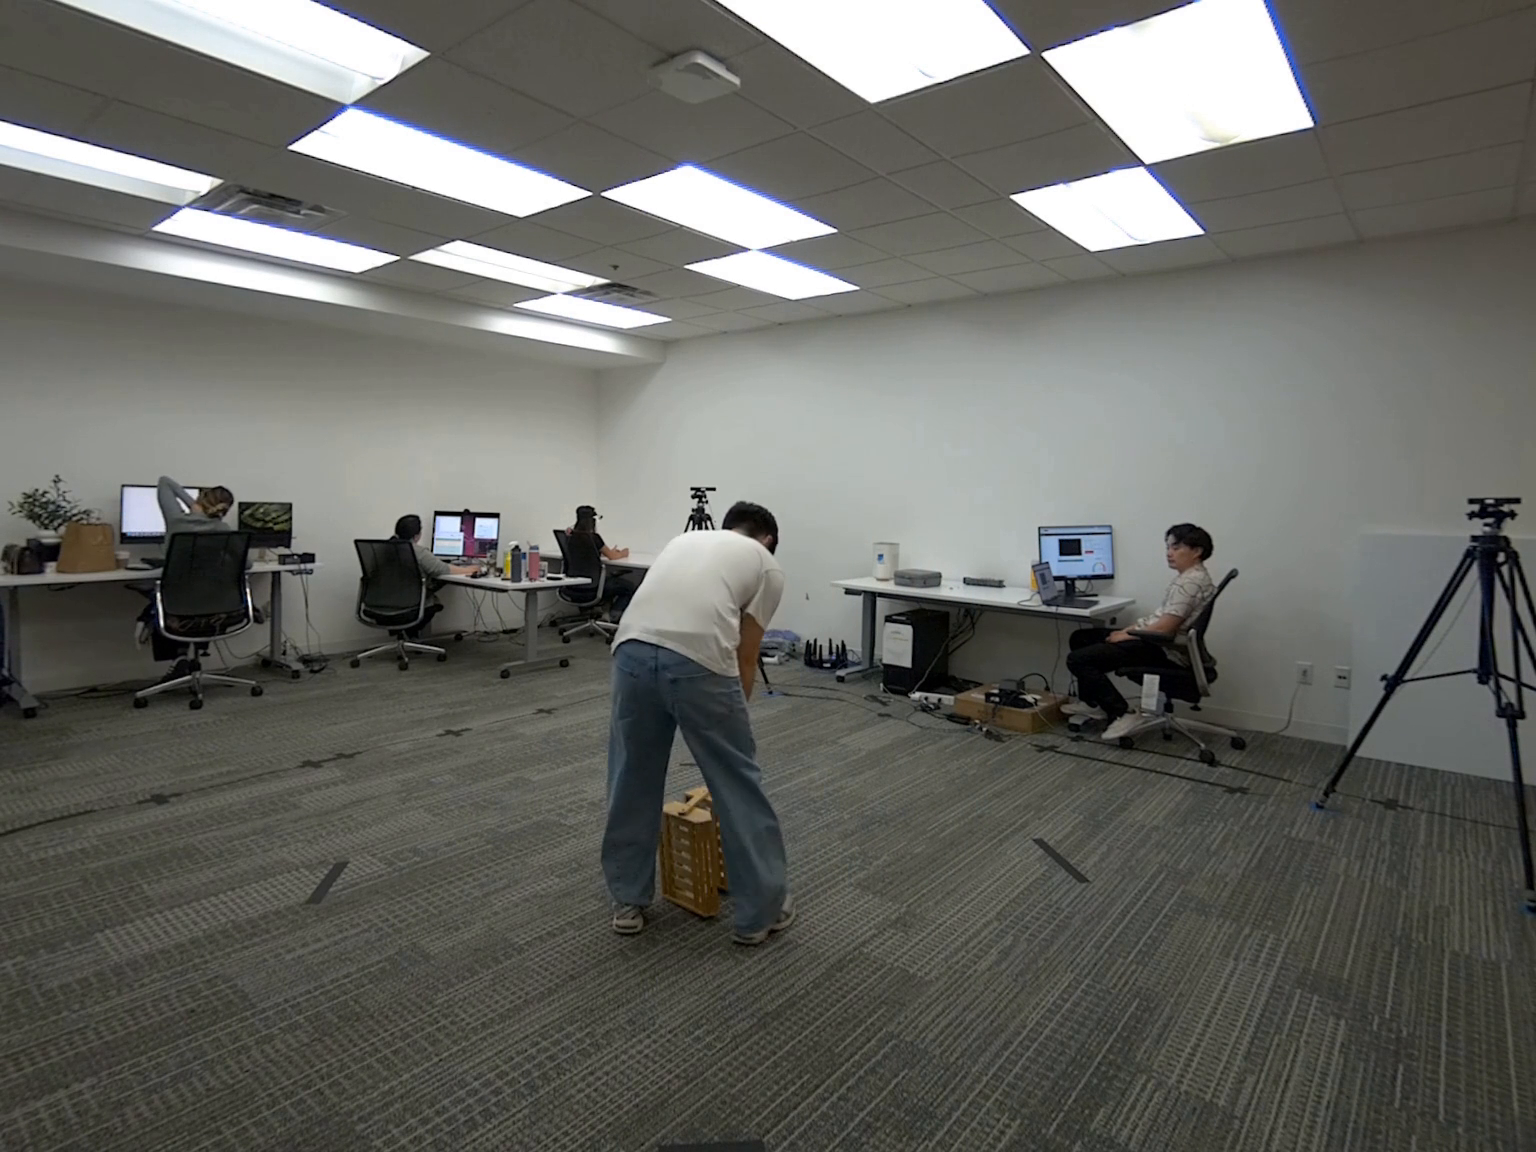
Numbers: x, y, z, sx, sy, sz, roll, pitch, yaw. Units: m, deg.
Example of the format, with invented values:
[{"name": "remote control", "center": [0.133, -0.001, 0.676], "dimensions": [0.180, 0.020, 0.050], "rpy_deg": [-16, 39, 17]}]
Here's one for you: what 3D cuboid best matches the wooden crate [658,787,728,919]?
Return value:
[{"name": "wooden crate", "center": [-0.213, 0.920, 2.893], "dimensions": [0.266, 0.324, 0.311], "rpy_deg": [-7, 4, -44]}]
